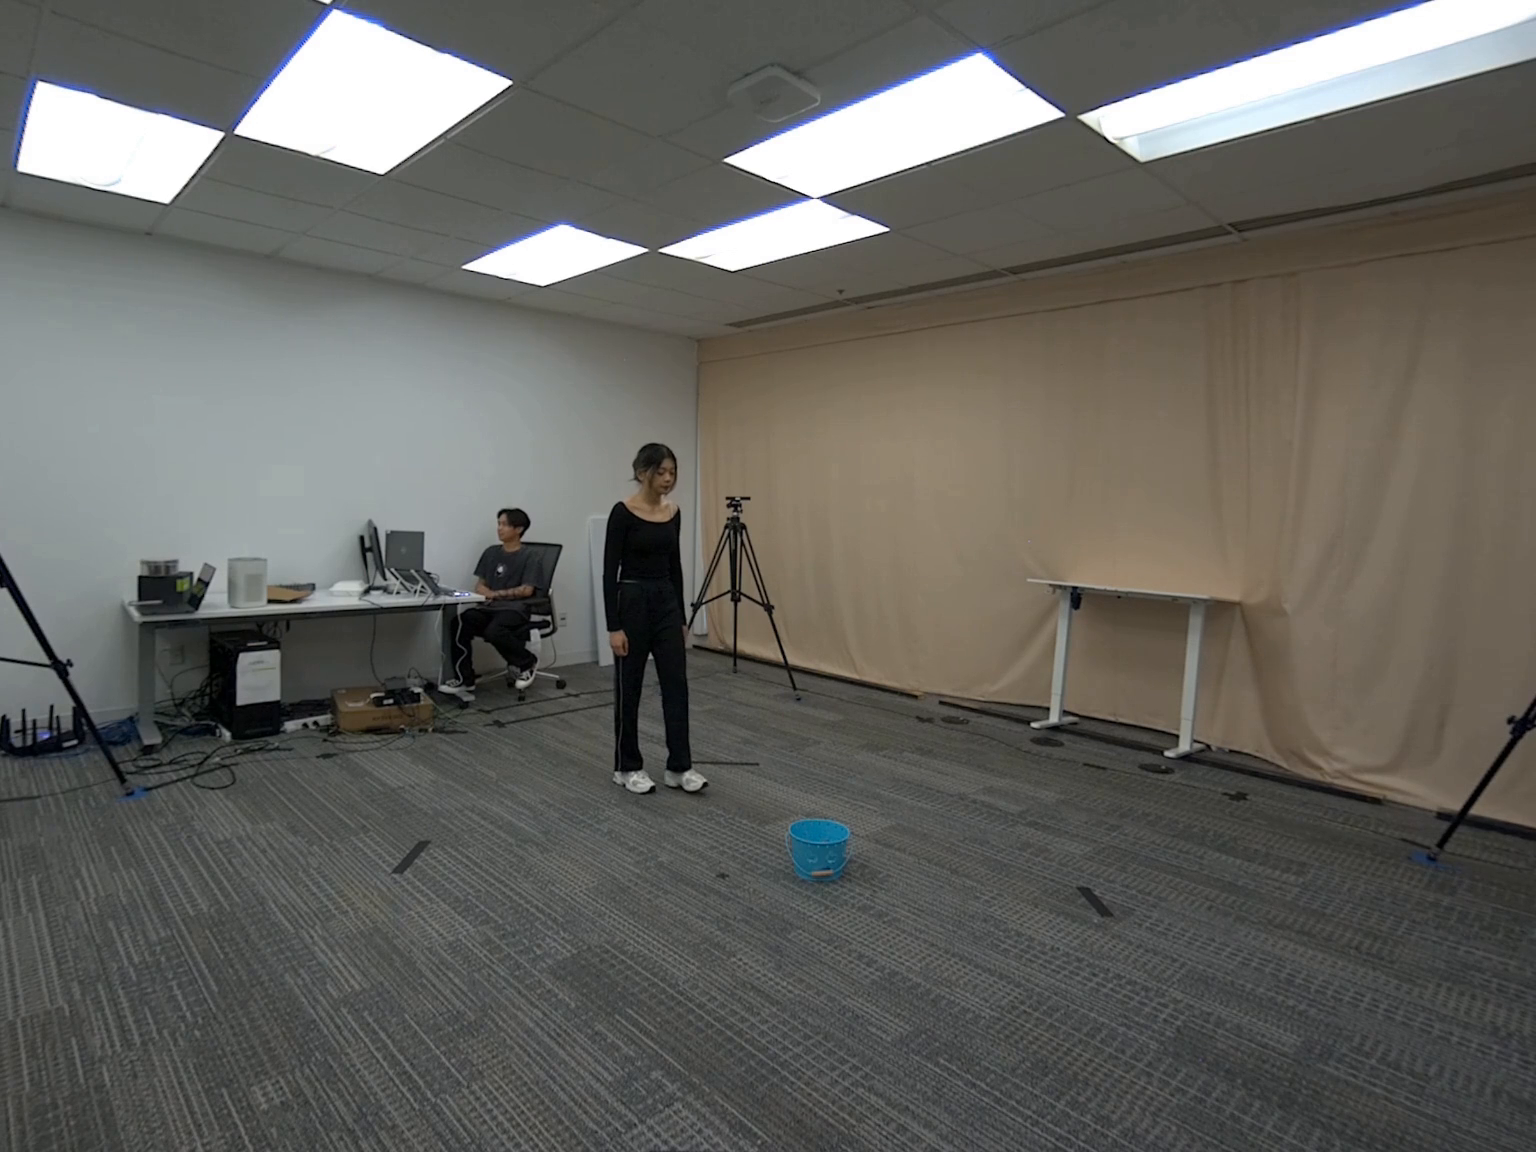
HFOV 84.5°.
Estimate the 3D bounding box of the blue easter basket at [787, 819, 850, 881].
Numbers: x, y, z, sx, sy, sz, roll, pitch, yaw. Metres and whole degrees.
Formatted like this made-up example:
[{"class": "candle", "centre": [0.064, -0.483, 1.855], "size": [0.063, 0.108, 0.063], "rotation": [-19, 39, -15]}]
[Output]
[{"class": "blue easter basket", "centre": [0.179, 1.030, 3.157], "size": [0.243, 0.155, 0.244], "rotation": [1, 4, -1]}]
